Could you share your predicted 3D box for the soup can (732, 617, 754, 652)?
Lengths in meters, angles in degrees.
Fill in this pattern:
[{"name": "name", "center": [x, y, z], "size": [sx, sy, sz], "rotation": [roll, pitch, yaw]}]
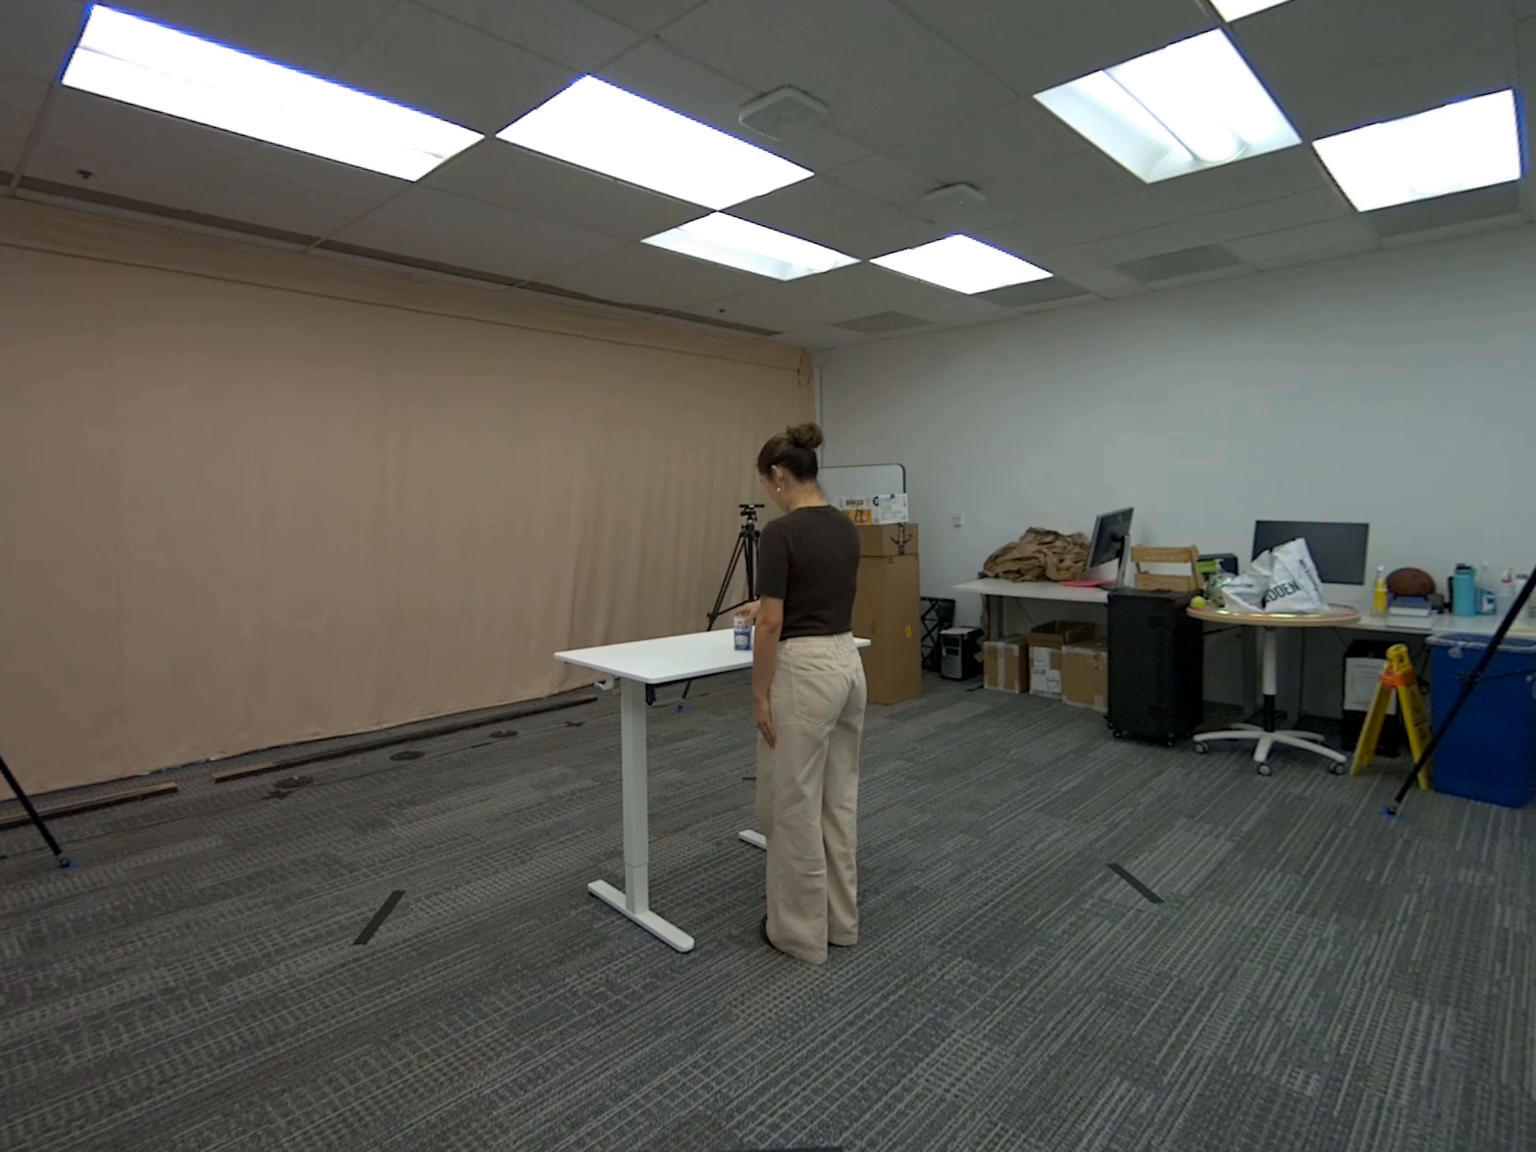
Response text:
[{"name": "soup can", "center": [-0.081, 0.204, 2.970], "size": [0.067, 0.121, 0.067], "rotation": [-3, 4, -2]}]
